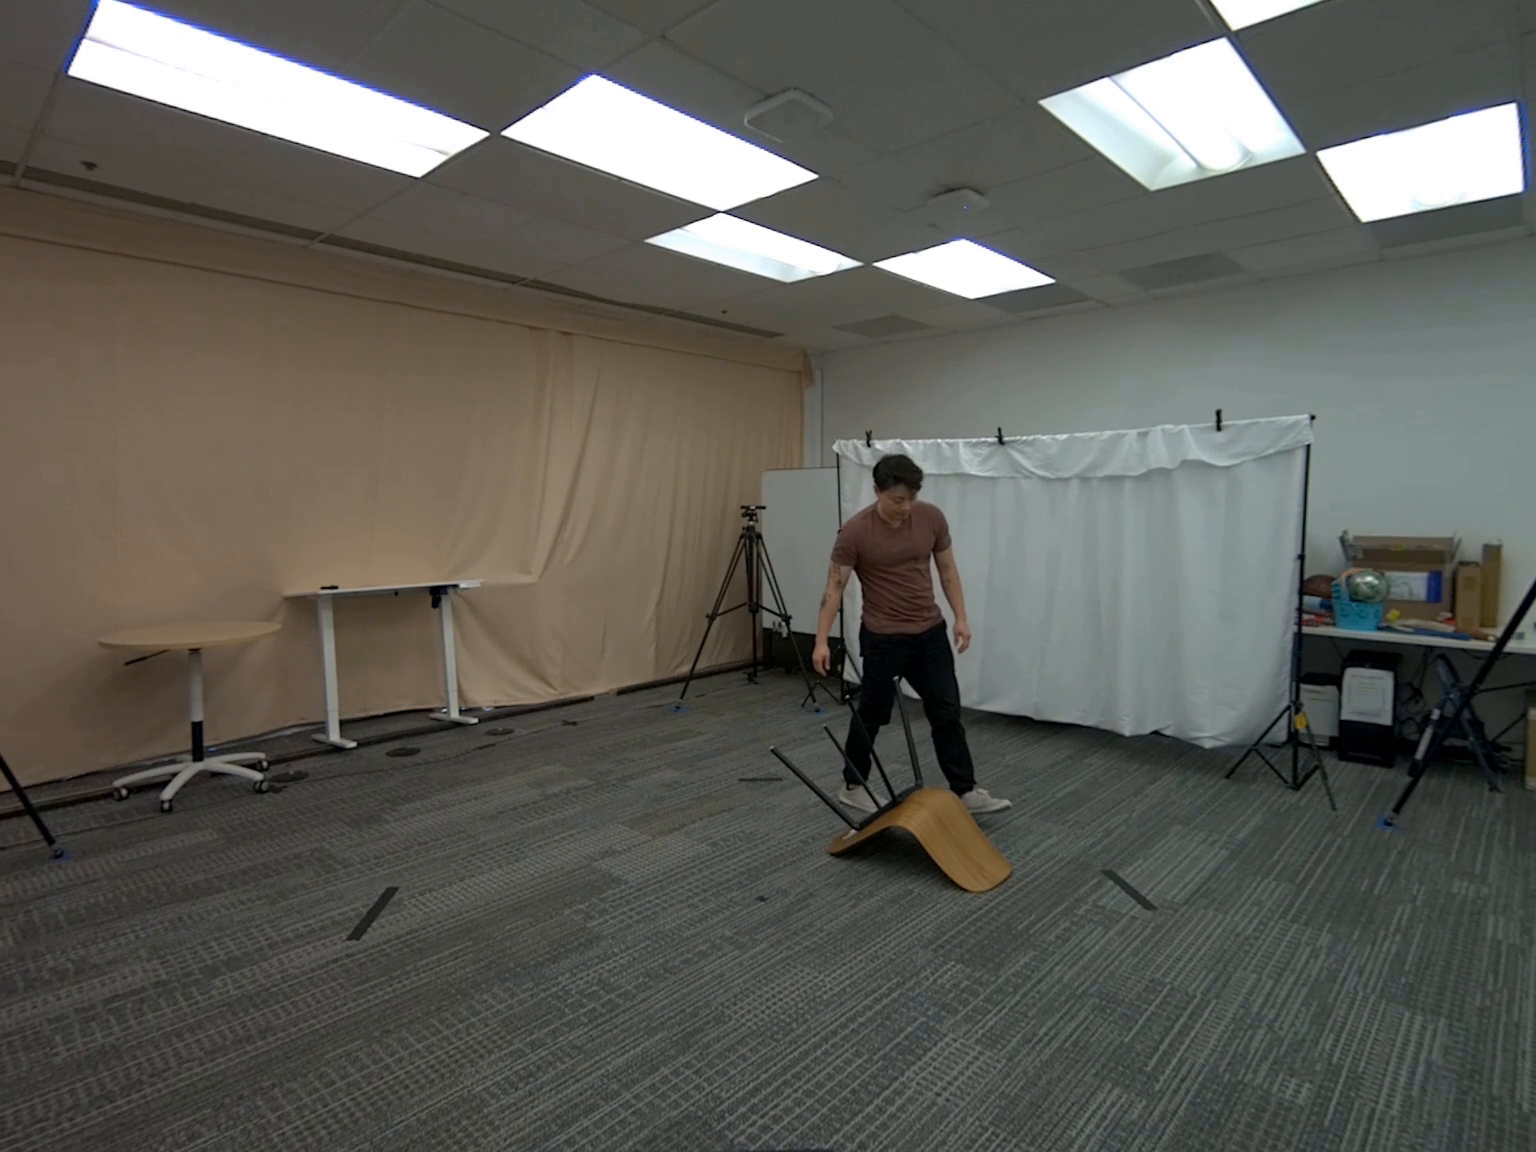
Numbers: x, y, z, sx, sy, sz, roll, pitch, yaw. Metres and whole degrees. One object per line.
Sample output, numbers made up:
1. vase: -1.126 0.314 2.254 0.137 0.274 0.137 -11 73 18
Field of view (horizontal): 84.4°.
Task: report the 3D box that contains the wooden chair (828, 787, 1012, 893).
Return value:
1. wooden chair: 0.490 0.937 3.410 0.527 0.896 0.464 -45 -22 28
